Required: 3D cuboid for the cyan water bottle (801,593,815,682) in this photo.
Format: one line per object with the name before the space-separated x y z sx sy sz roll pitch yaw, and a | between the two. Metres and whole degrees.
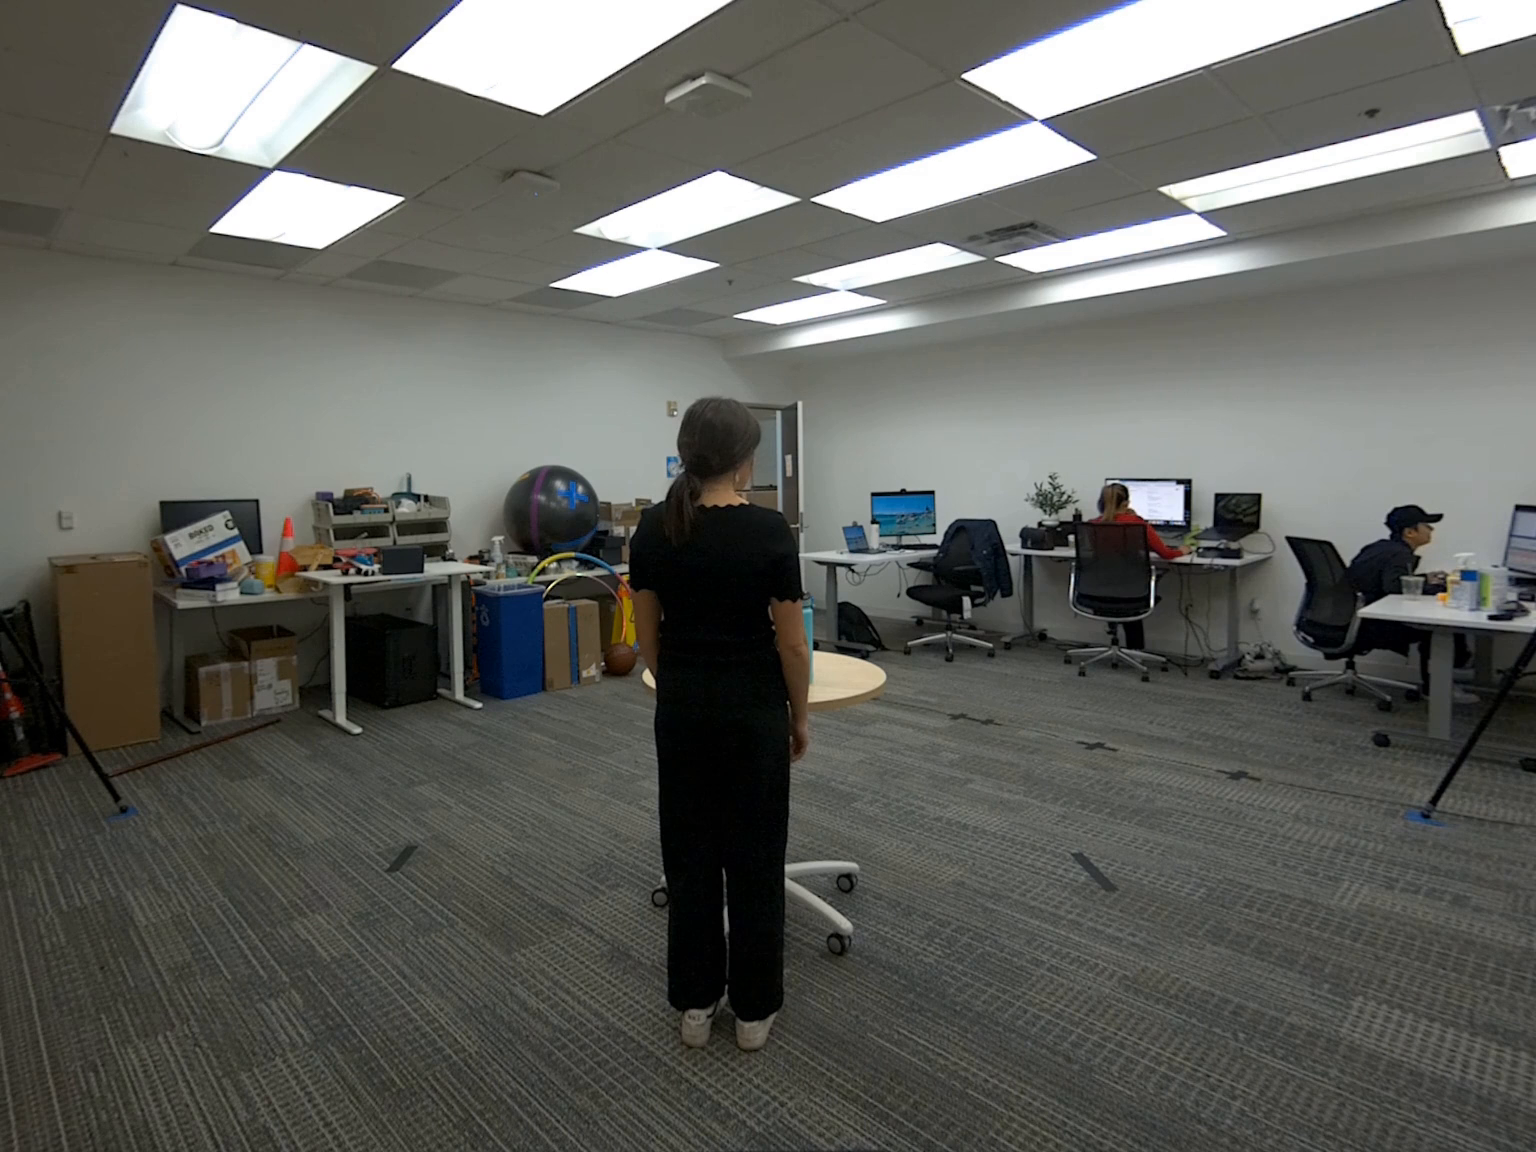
cyan water bottle | 0.098 0.181 2.569 0.092 0.283 0.092 -1 2 -2
